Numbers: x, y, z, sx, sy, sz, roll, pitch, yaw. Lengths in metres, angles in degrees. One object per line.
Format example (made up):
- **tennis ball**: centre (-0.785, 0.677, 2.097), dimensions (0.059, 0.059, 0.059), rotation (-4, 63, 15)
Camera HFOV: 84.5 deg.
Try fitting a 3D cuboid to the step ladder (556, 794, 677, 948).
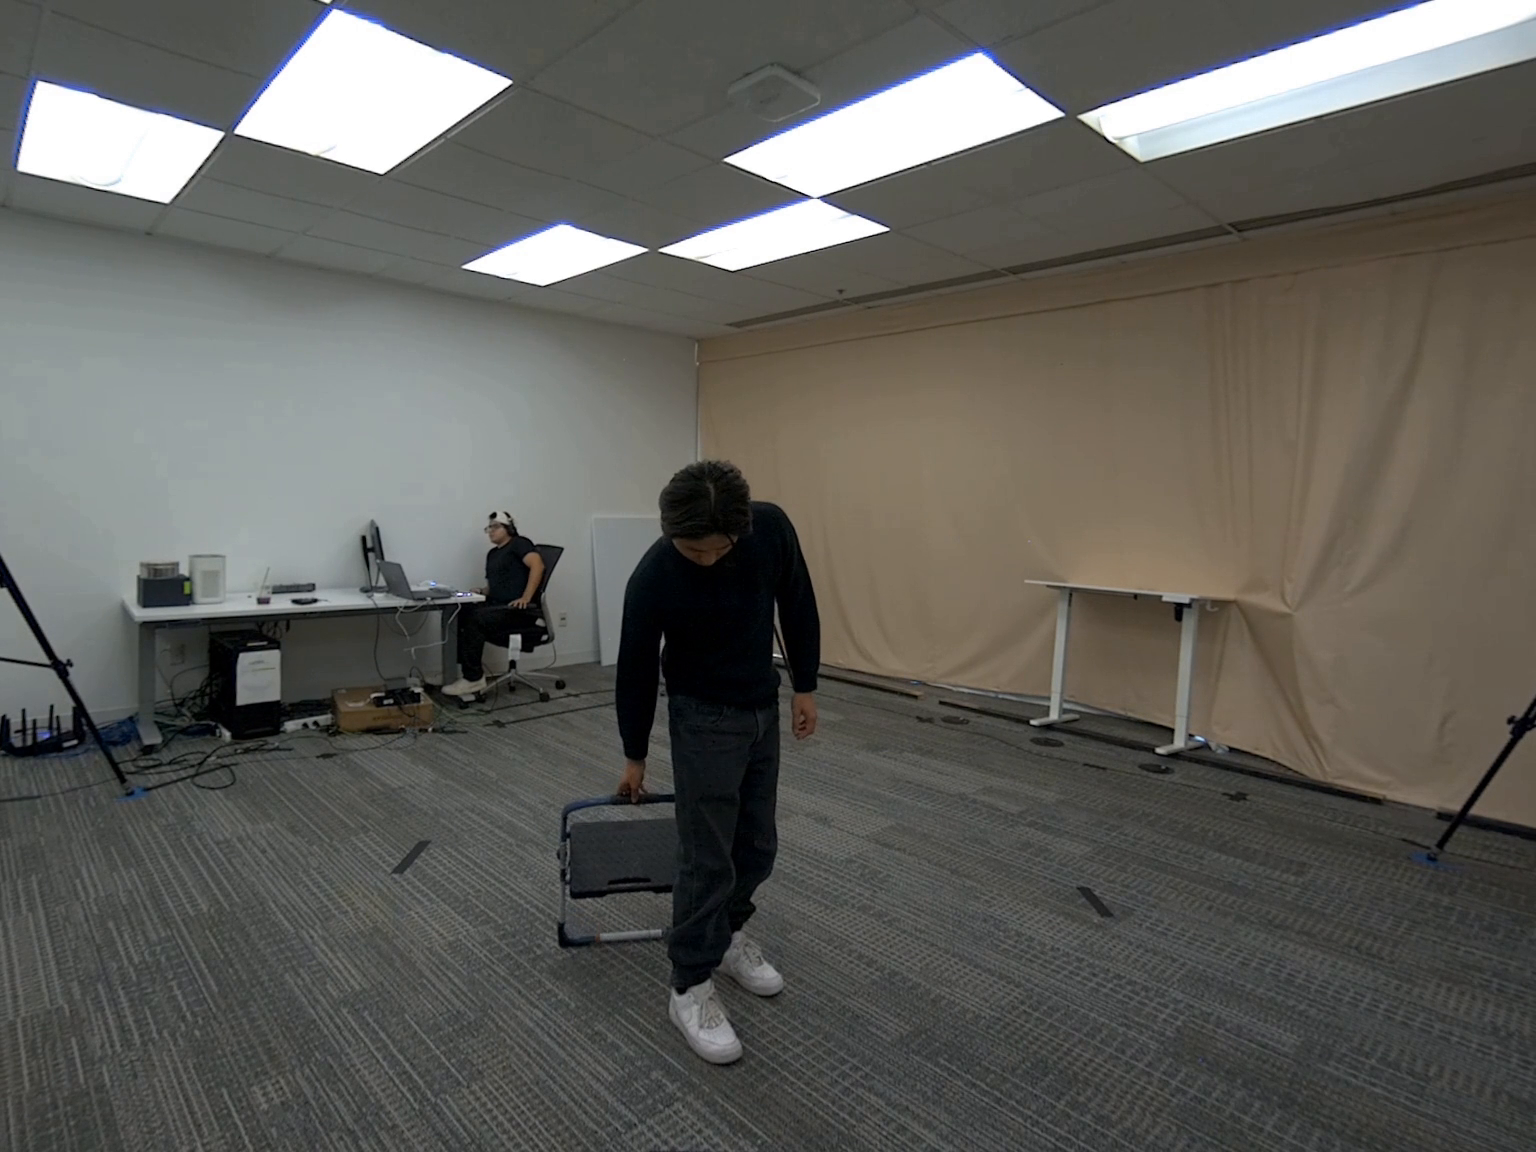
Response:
- **step ladder**: centre (-0.441, 0.811, 2.587), dimensions (0.426, 0.595, 0.359), rotation (0, 38, -13)
